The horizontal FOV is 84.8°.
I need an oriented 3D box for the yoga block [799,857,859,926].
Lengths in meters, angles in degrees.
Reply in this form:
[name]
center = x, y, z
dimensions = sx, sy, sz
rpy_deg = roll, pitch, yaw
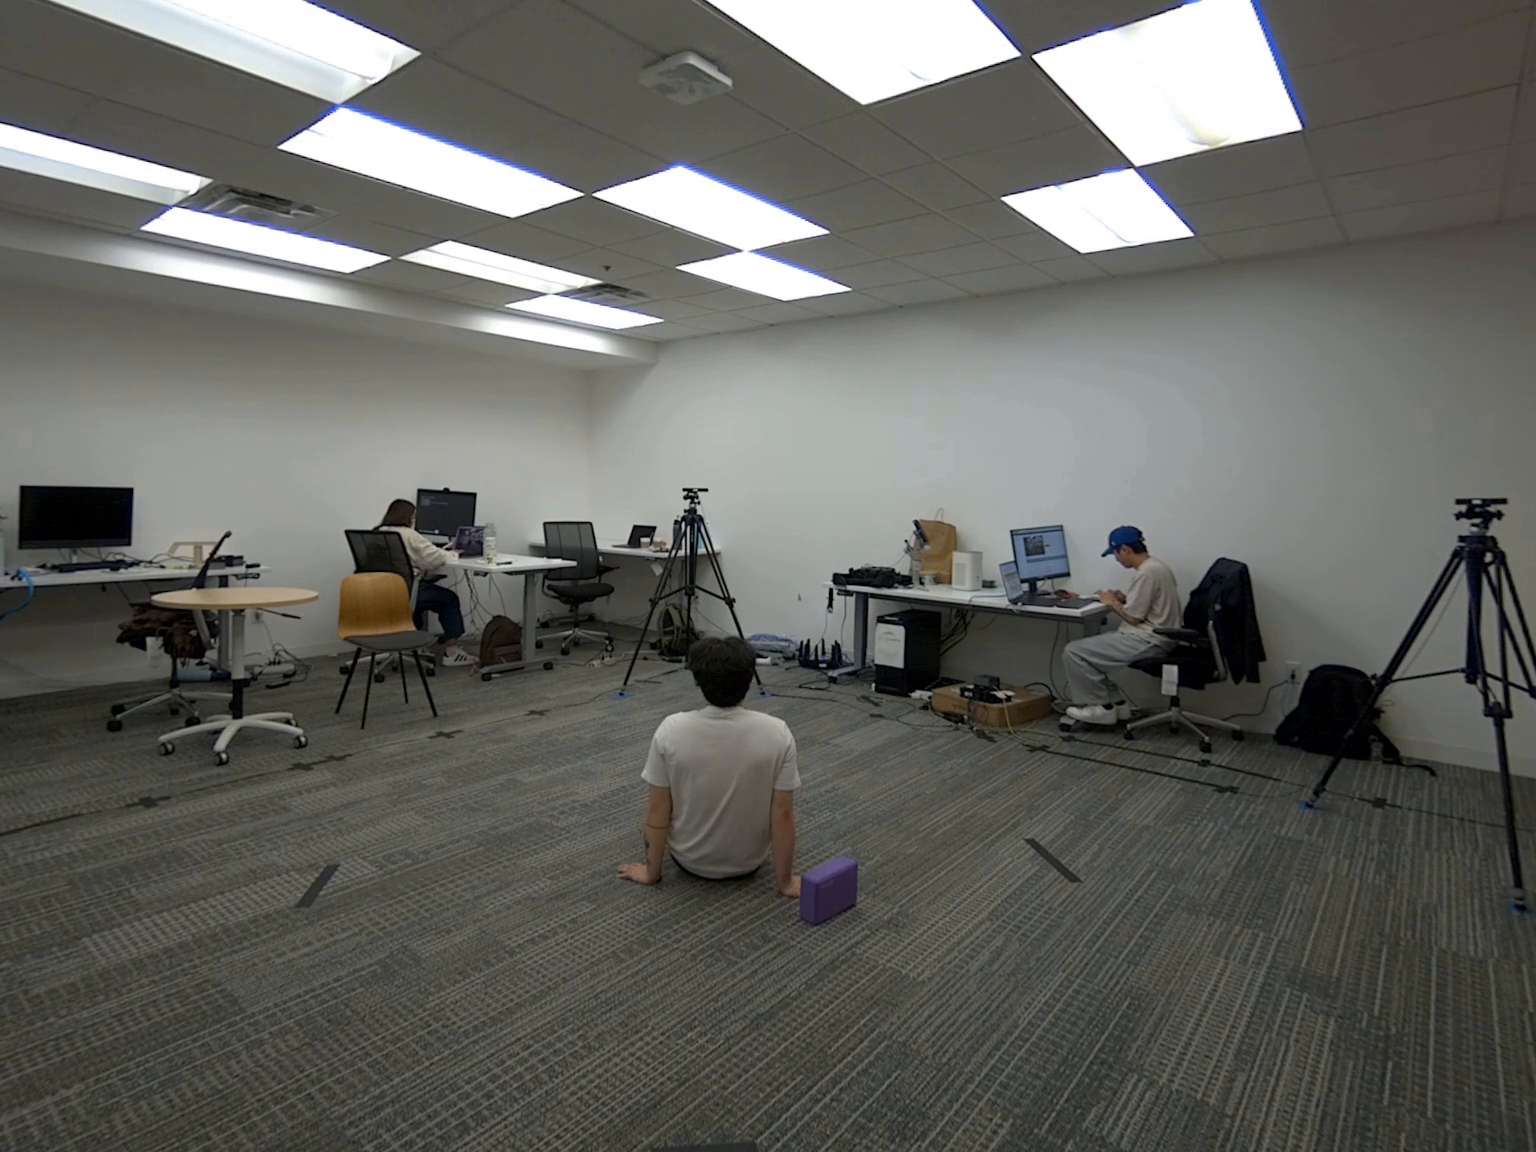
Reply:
[yoga block]
center = 0.197, 1.031, 2.815
dimensions = 0.222, 0.148, 0.079
rpy_deg = -1, 6, -42
